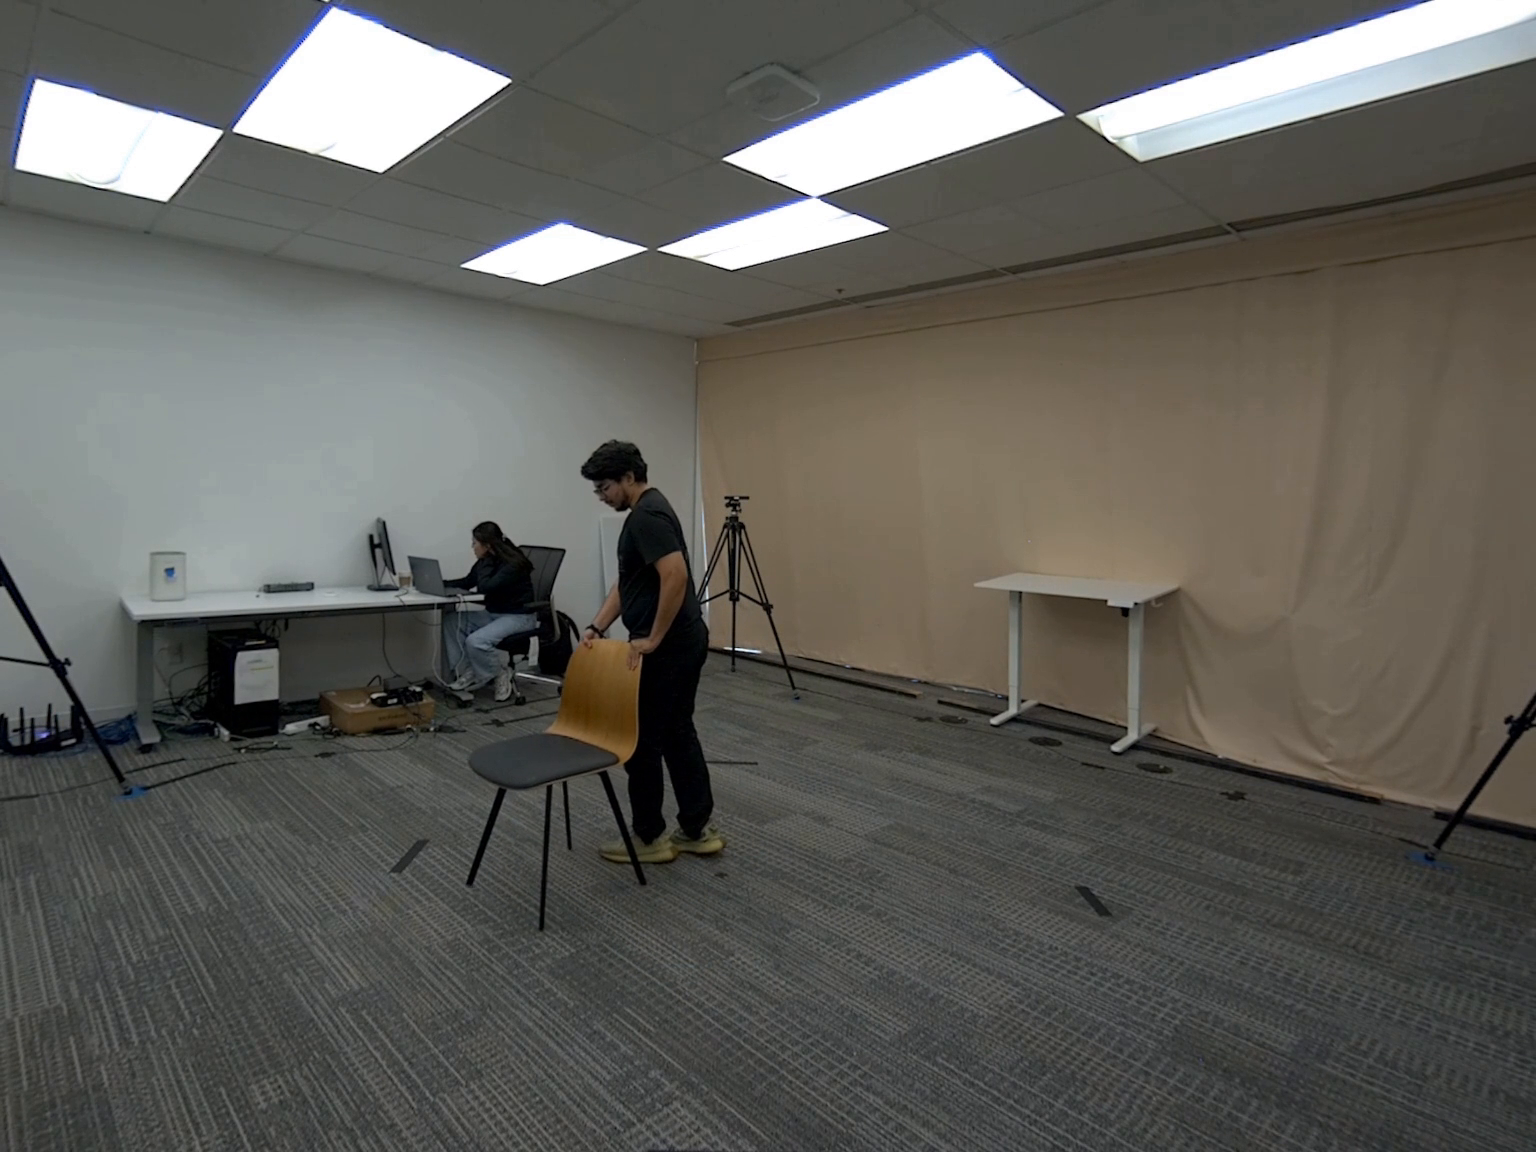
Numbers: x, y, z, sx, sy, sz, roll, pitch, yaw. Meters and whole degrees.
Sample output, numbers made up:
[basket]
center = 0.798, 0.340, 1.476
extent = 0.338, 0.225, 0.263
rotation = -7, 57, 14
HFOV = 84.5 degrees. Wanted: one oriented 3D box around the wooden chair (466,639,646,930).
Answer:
[wooden chair]
center = -0.744, 0.678, 2.948
extent = 0.490, 0.877, 0.510
rotation = 5, 0, 40
